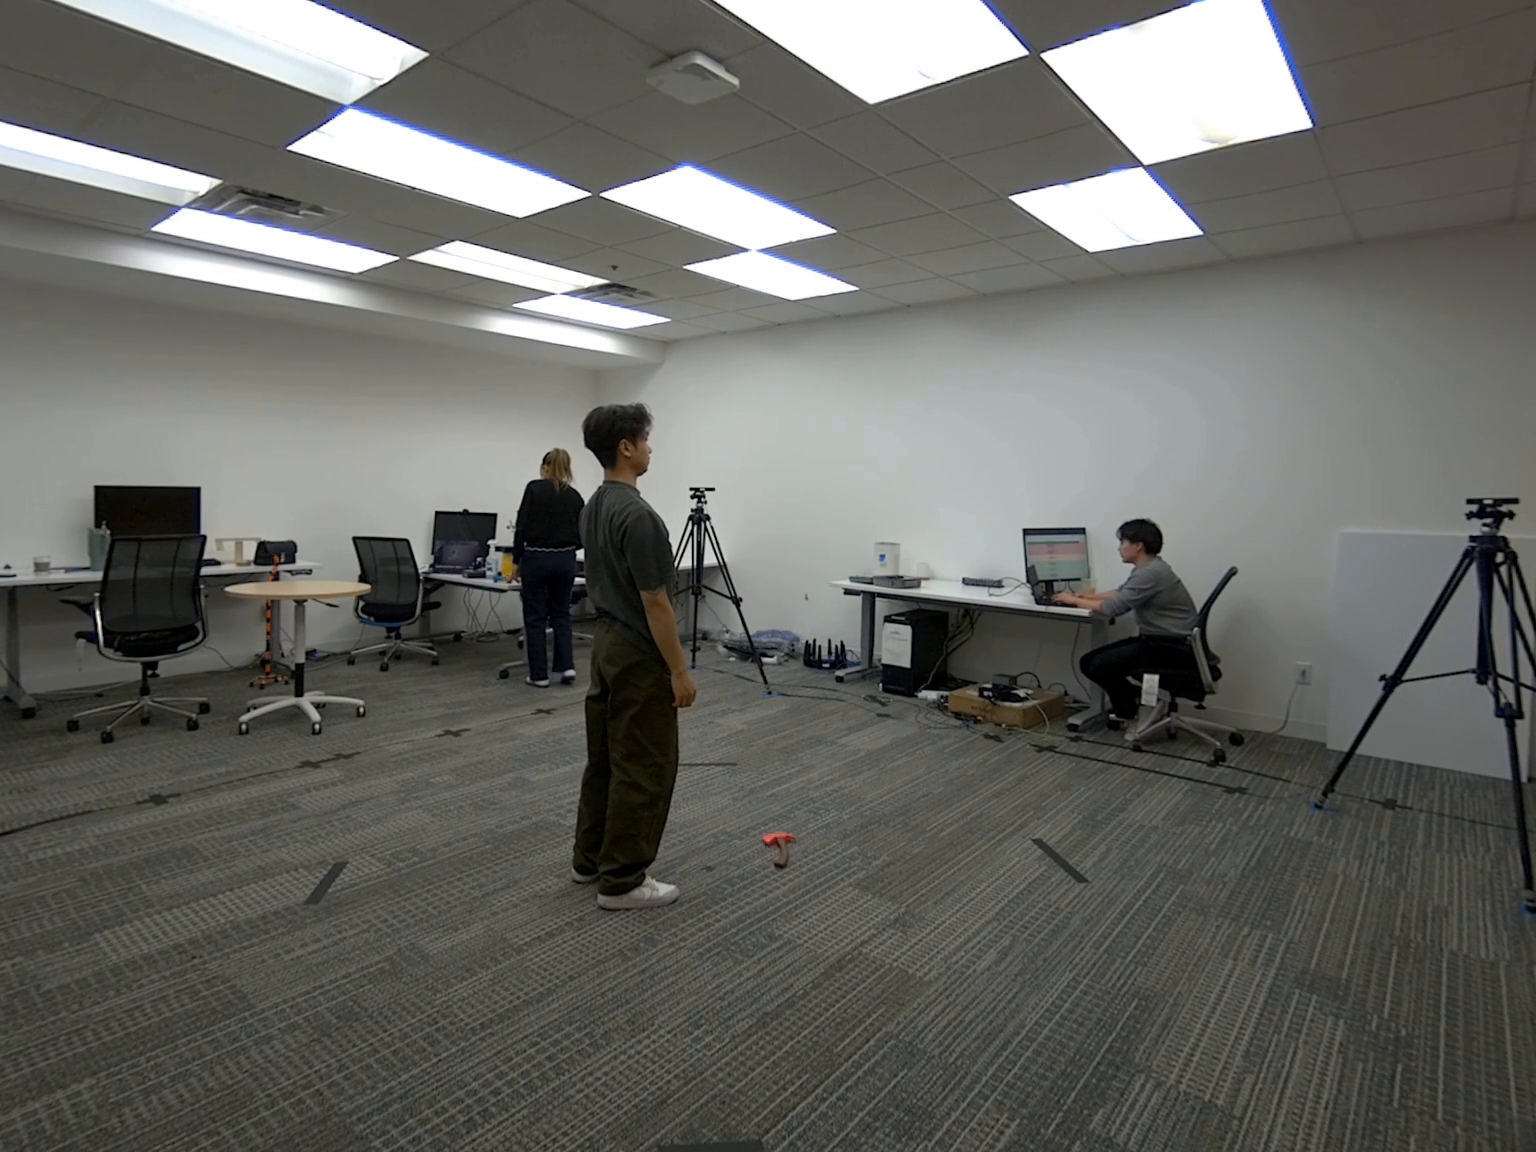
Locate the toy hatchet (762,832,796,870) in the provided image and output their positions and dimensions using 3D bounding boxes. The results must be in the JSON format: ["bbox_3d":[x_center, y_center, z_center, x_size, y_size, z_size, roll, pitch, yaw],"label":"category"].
[{"bbox_3d":[0.016,1.043,3.260,0.133,0.029,0.267,3,7,12],"label":"toy hatchet"}]
